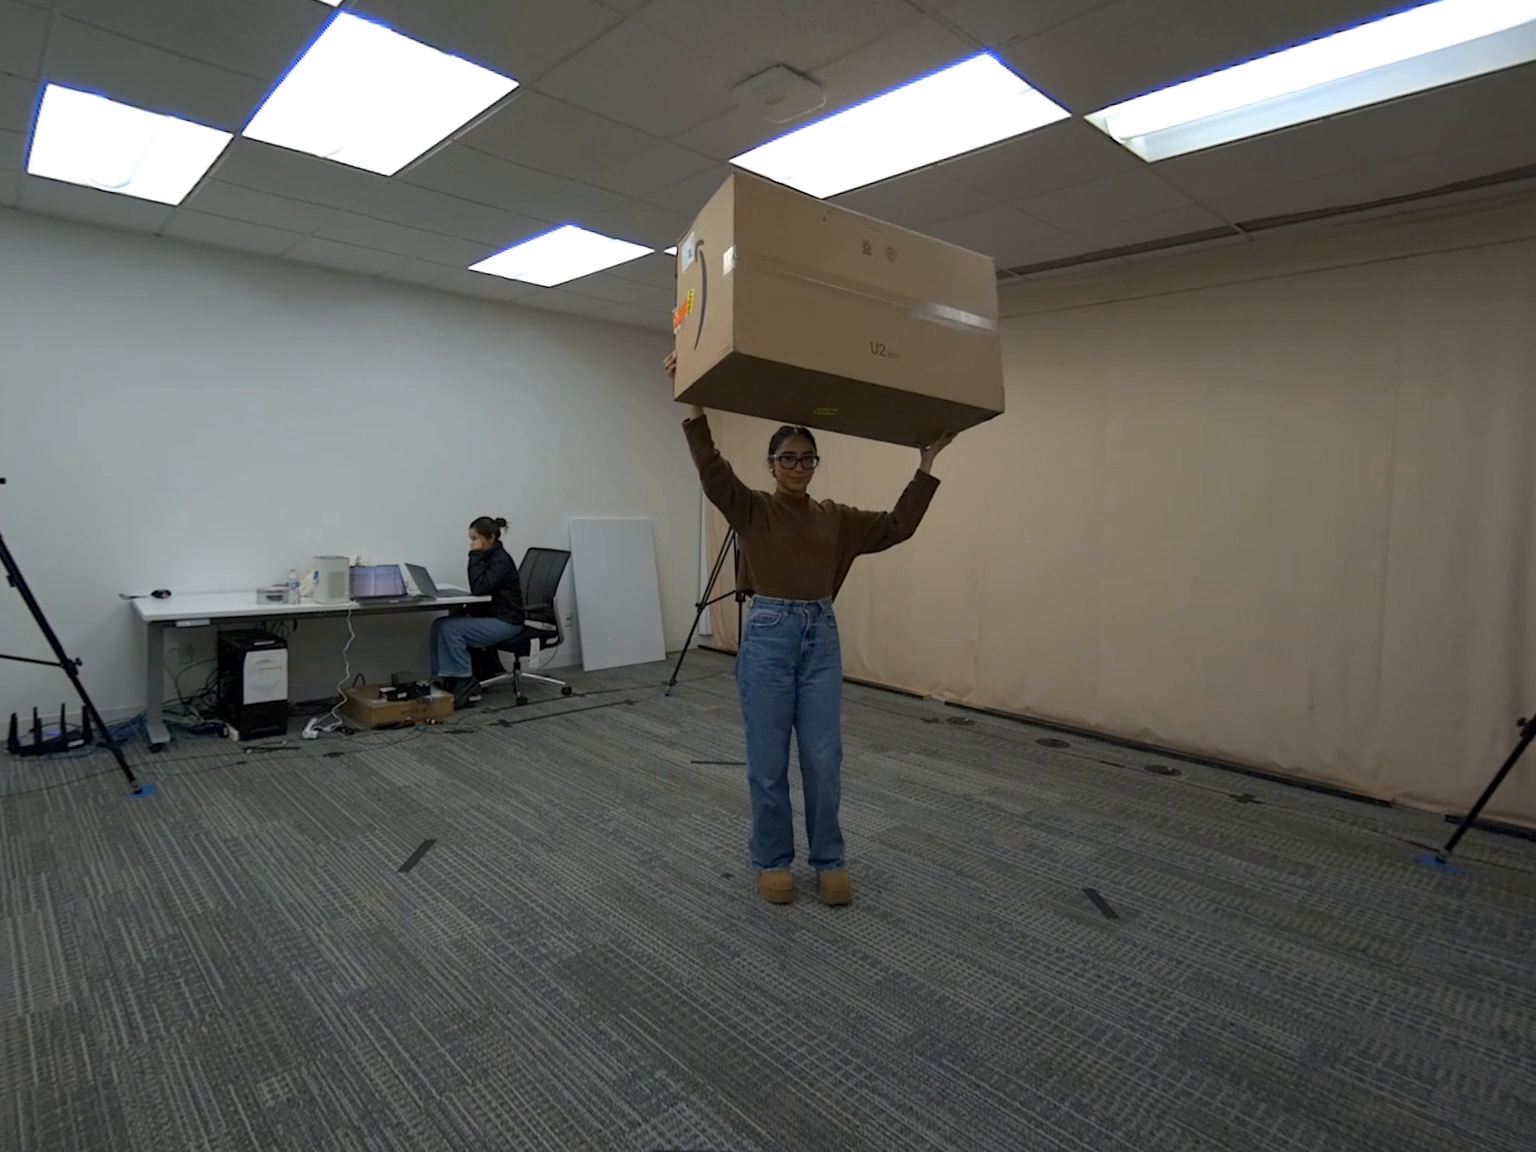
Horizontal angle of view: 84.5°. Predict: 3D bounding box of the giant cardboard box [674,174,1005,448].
[{"bbox_3d":[0.232,-0.826,2.810,1.004,0.583,0.431,6,-14,-28],"label":"giant cardboard box"}]
